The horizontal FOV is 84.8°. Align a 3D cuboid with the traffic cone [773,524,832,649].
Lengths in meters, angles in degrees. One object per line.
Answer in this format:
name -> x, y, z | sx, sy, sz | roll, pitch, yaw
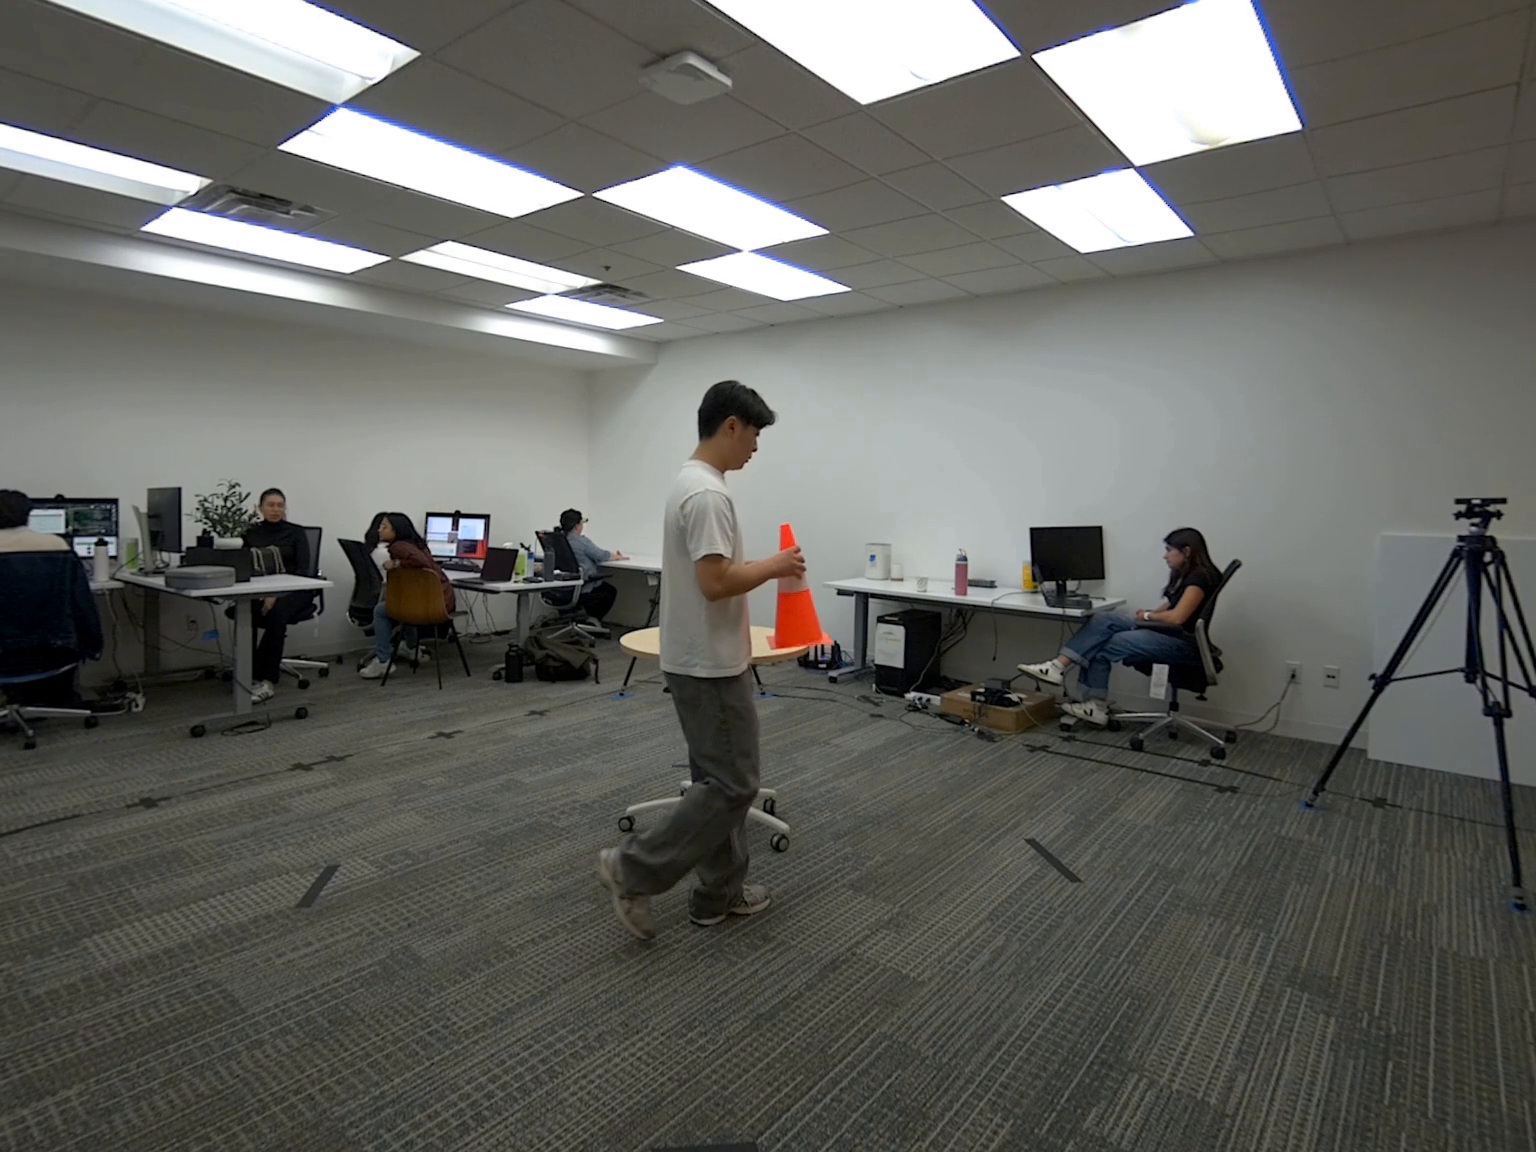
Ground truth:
traffic cone -> 0.074, 0.022, 2.739 | 0.207, 0.382, 0.202 | -5, 5, 11
